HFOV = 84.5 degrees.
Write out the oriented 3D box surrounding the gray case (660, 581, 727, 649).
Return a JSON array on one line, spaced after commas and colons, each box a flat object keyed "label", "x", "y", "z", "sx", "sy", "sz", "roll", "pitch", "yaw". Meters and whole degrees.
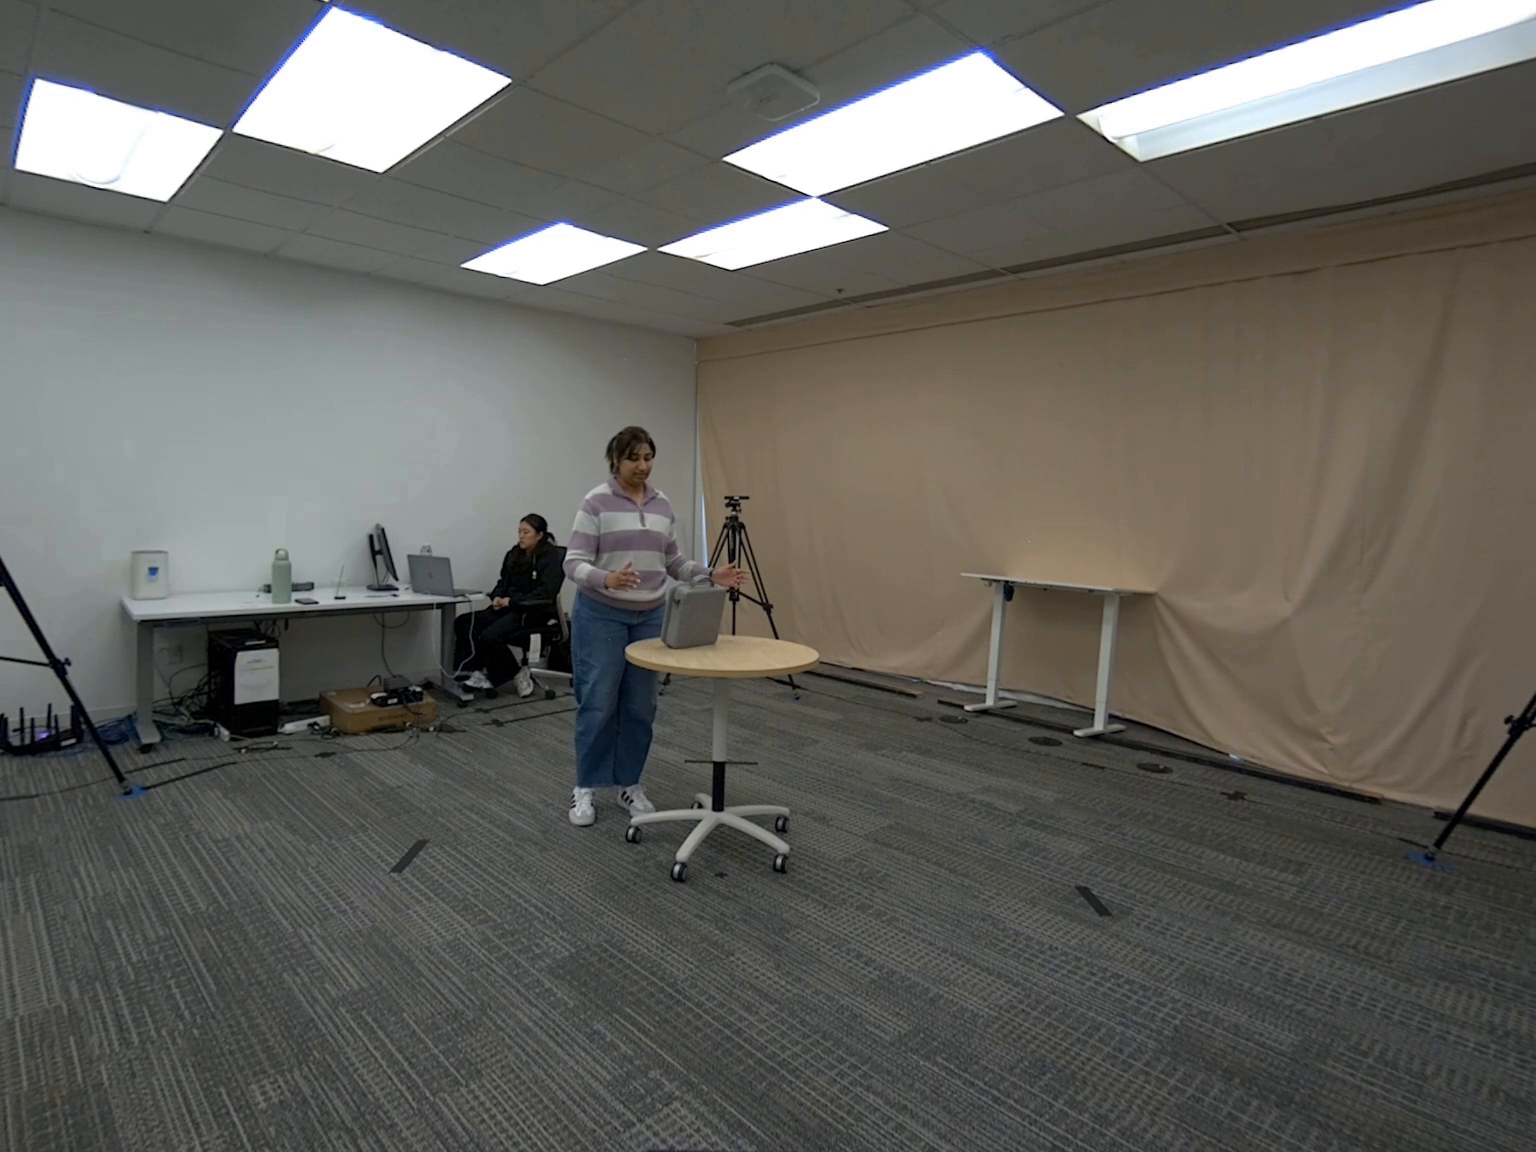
[{"label": "gray case", "x": -0.306, "y": 0.154, "z": 3.416, "sx": 0.107, "sy": 0.259, "sz": 0.251, "roll": 20, "pitch": 16, "yaw": 40}]
